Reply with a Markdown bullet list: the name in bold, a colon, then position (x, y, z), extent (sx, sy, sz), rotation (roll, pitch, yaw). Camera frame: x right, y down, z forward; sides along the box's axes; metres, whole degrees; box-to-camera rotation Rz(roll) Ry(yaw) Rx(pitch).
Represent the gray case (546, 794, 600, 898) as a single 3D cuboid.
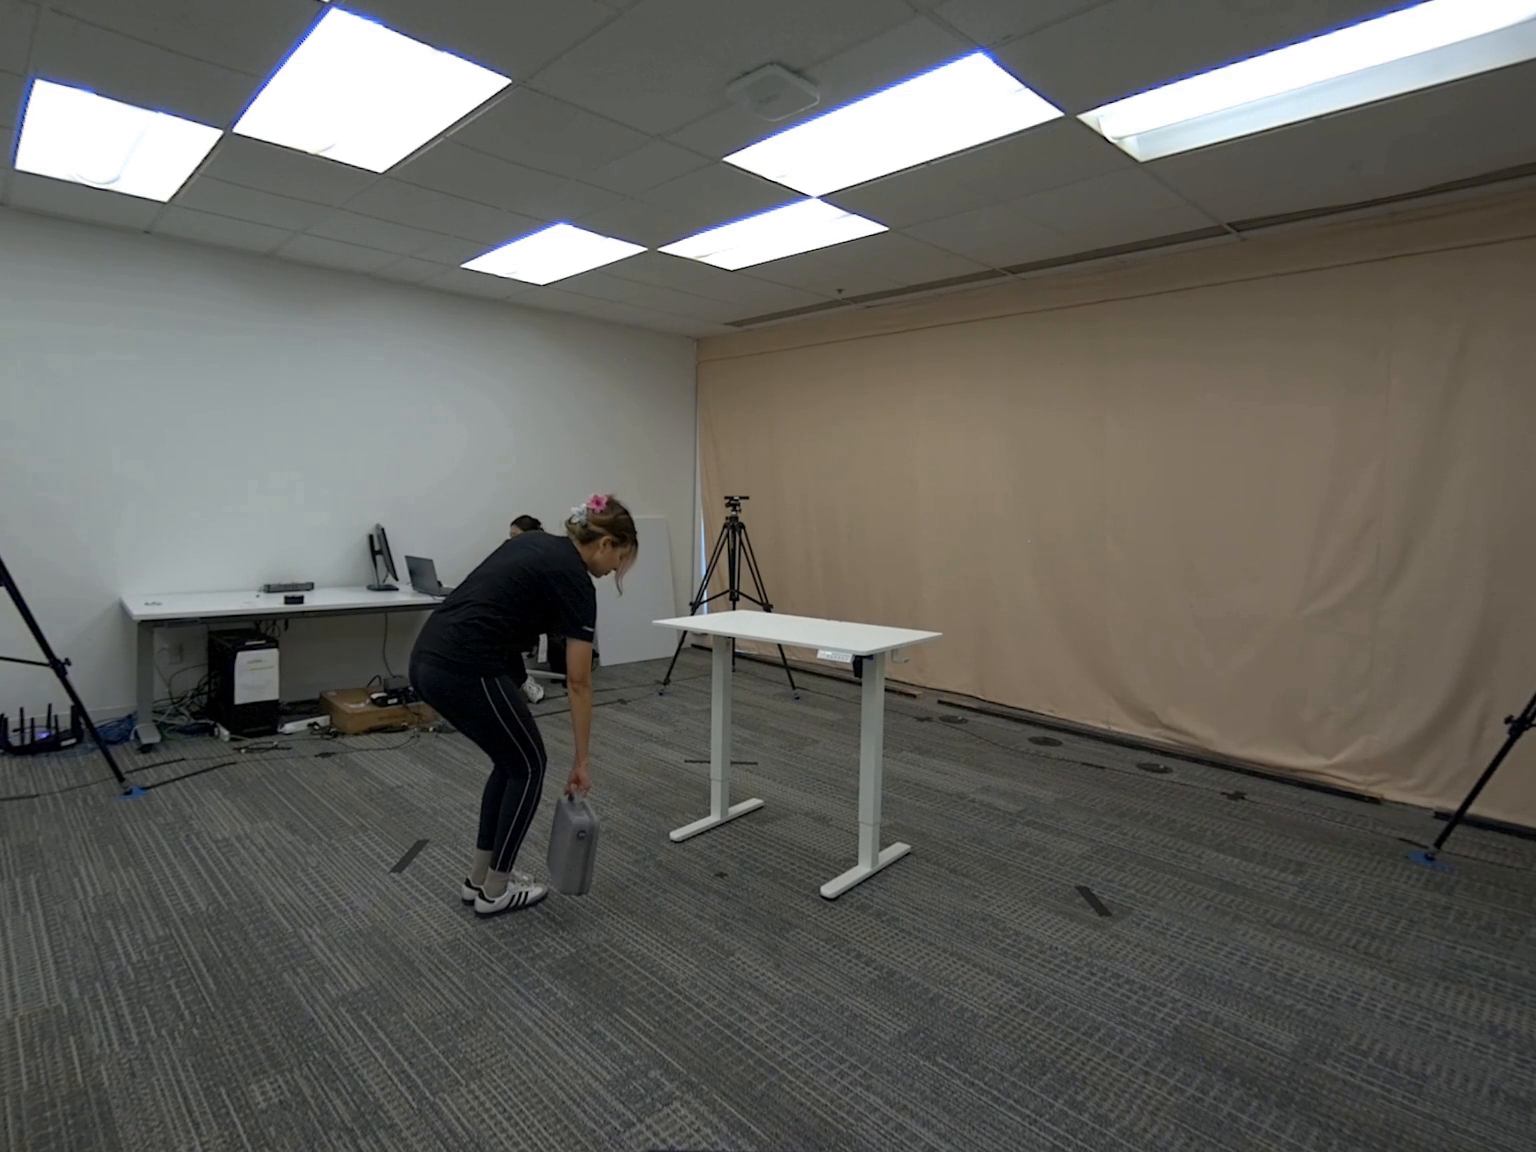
- **gray case**: position (-0.645, 0.875, 2.754), extent (0.102, 0.260, 0.261), rotation (10, 0, -22)
